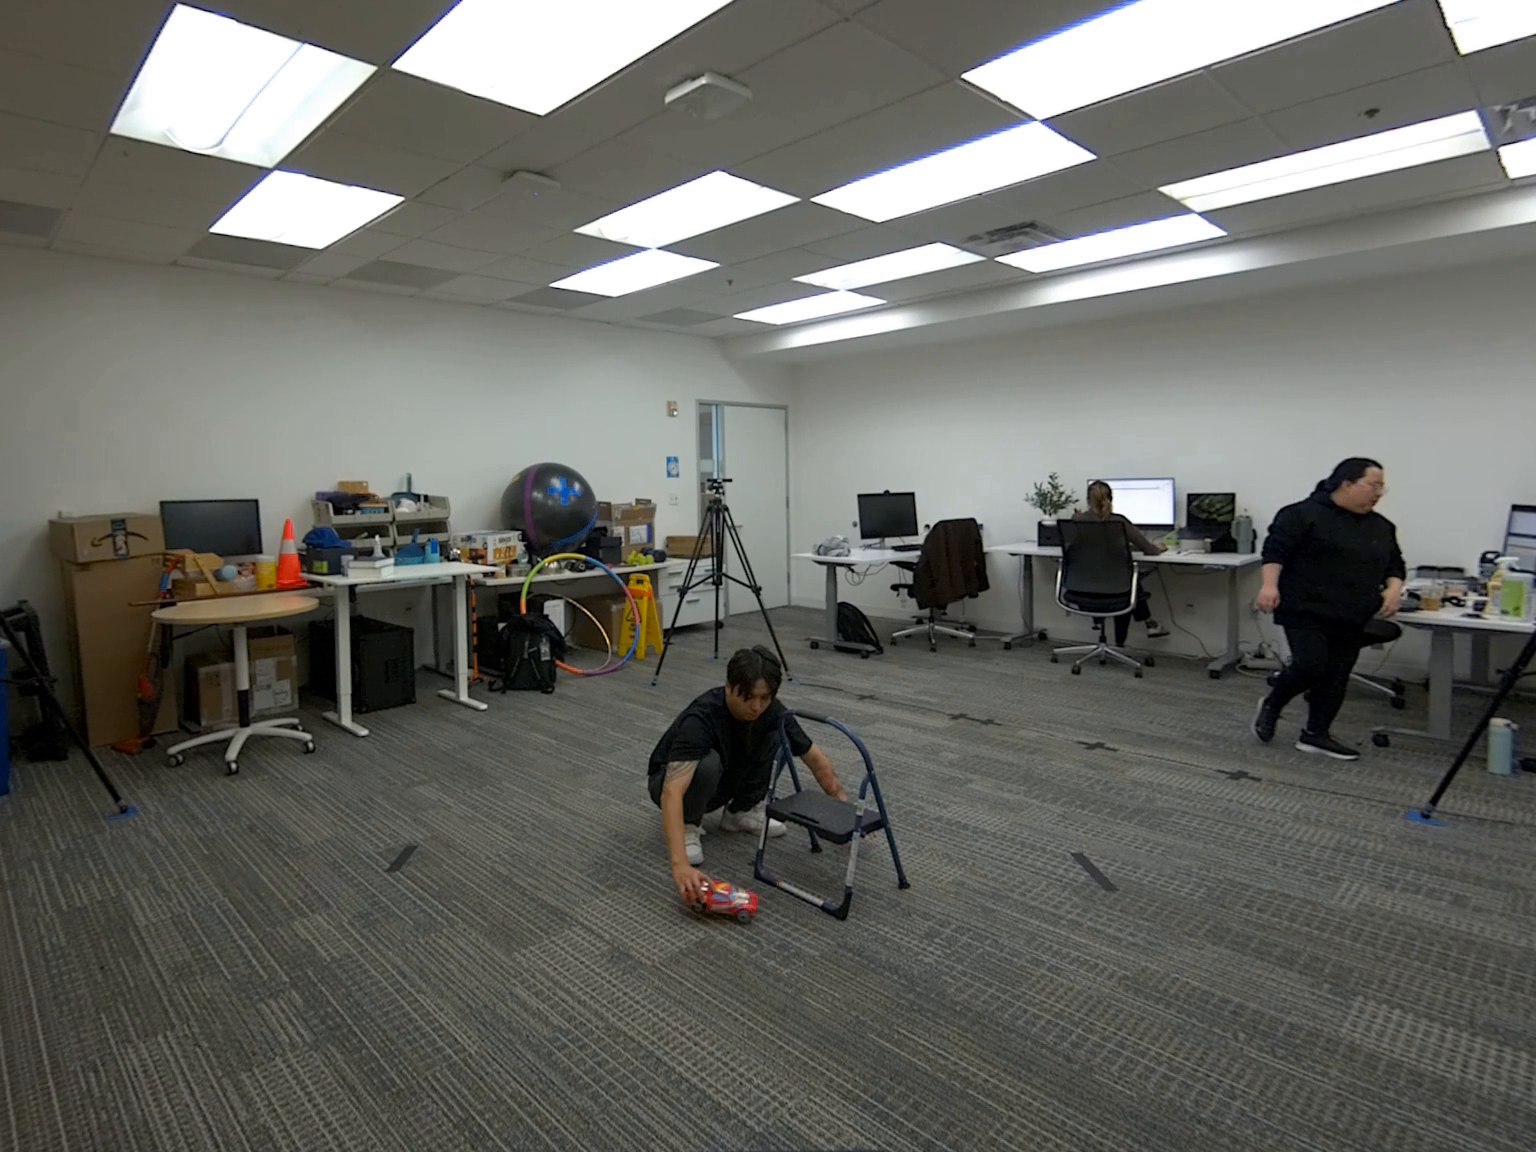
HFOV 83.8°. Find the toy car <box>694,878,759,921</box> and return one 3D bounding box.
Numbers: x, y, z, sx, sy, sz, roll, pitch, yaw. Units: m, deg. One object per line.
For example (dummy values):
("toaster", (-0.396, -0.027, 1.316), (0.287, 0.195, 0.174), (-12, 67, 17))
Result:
("toy car", (-0.069, 1.077, 2.772), (0.251, 0.083, 0.132), (12, 1, -11))
